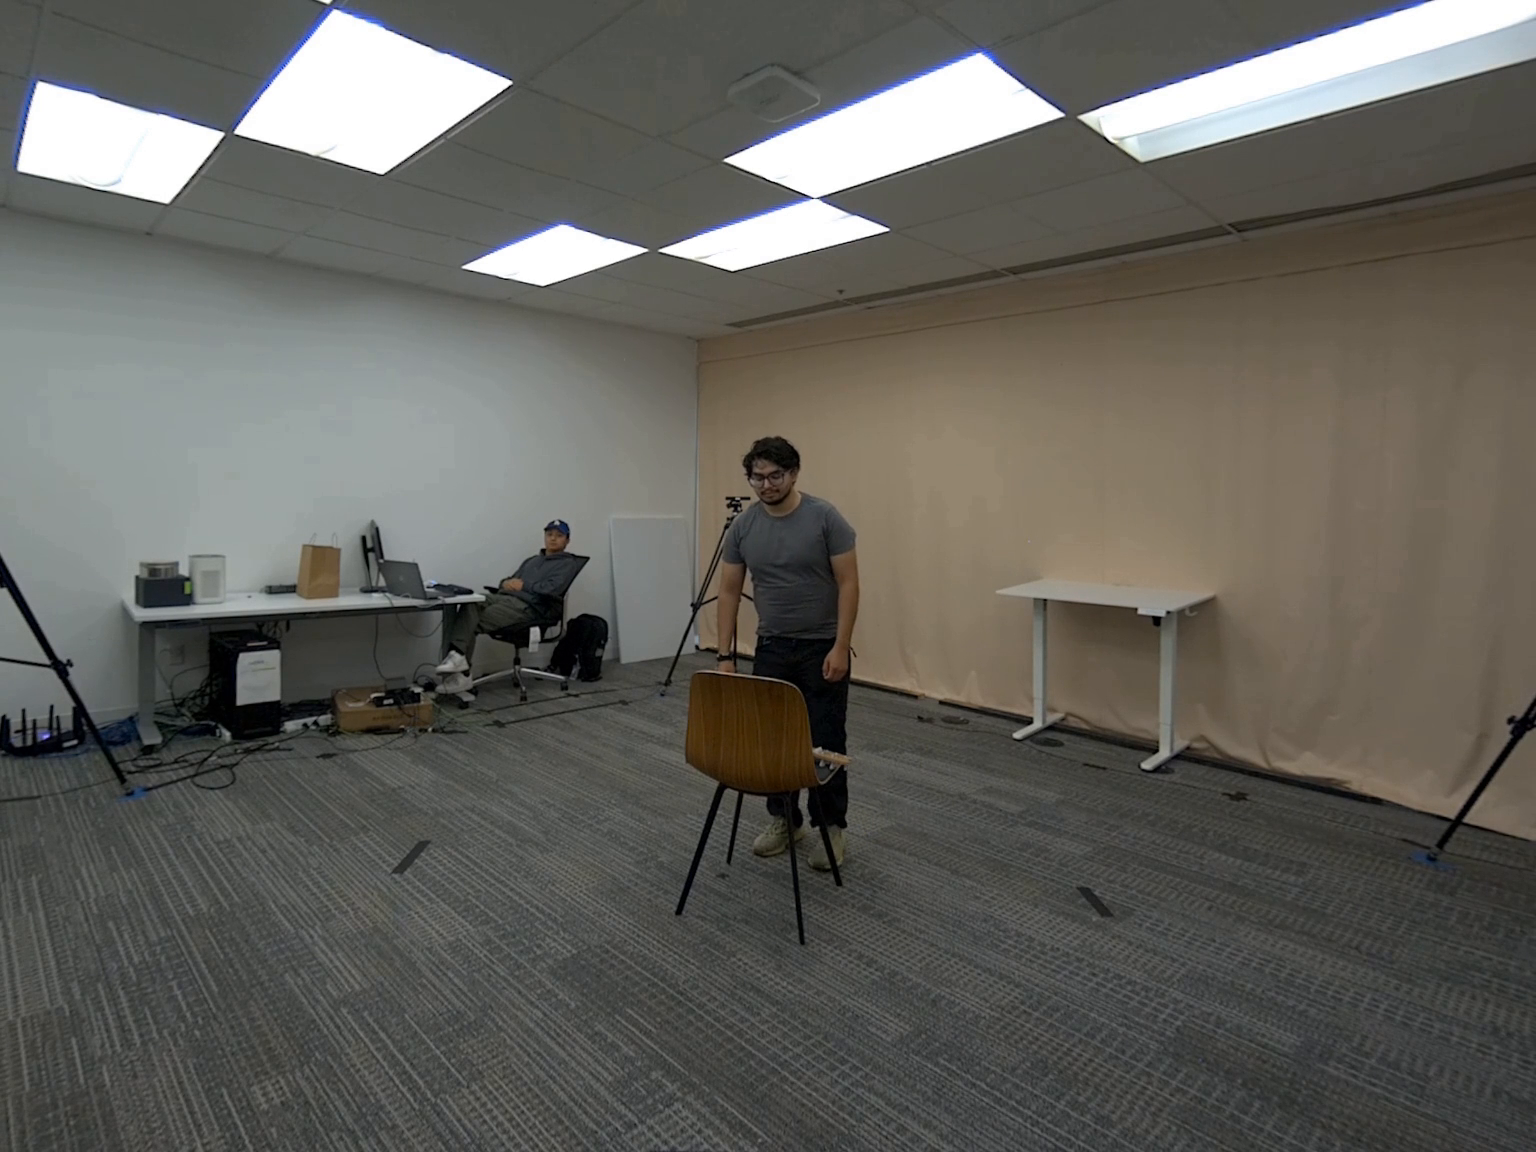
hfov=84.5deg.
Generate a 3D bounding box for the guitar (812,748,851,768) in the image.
[{"bbox_3d":[0.036,0.617,2.927,0.188,0.070,0.511,-3,9,-44],"label":"guitar"}]
